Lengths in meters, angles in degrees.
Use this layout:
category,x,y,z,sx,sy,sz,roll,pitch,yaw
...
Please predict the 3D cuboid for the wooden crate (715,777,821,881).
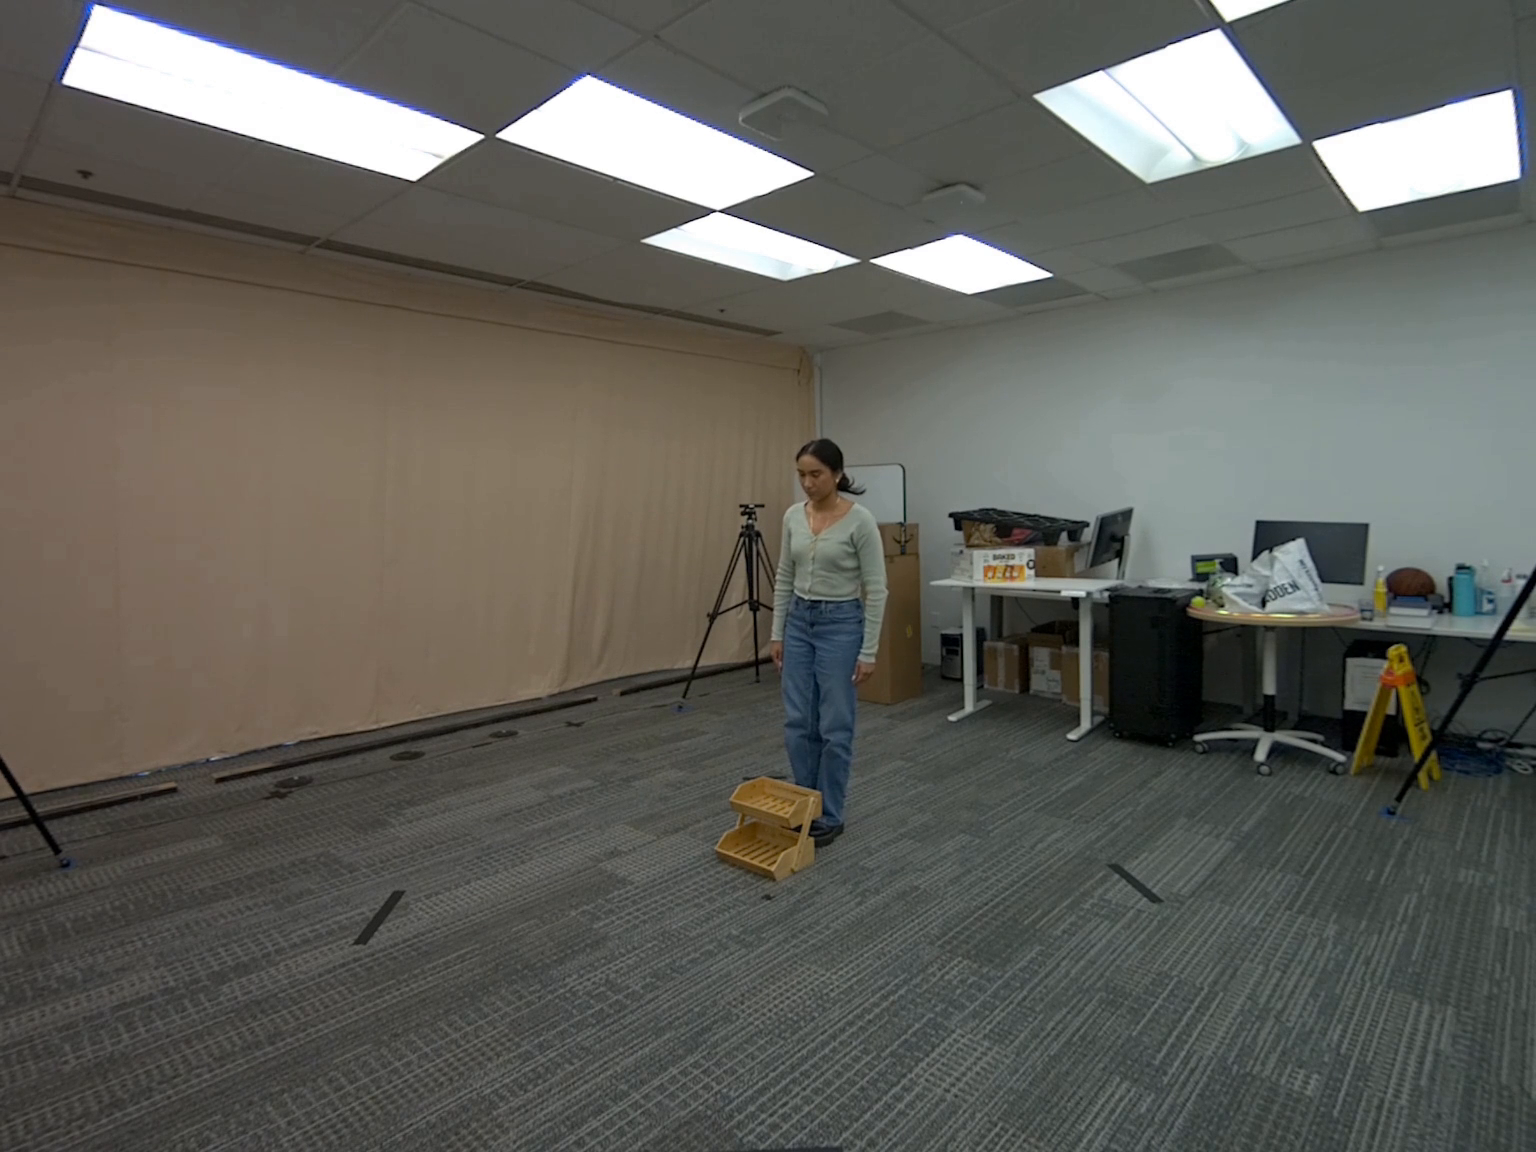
category,x,y,z,sx,sy,sz,roll,pitch,yaw
wooden crate,0.002,0.977,3.297,0.335,0.273,0.293,3,5,41
